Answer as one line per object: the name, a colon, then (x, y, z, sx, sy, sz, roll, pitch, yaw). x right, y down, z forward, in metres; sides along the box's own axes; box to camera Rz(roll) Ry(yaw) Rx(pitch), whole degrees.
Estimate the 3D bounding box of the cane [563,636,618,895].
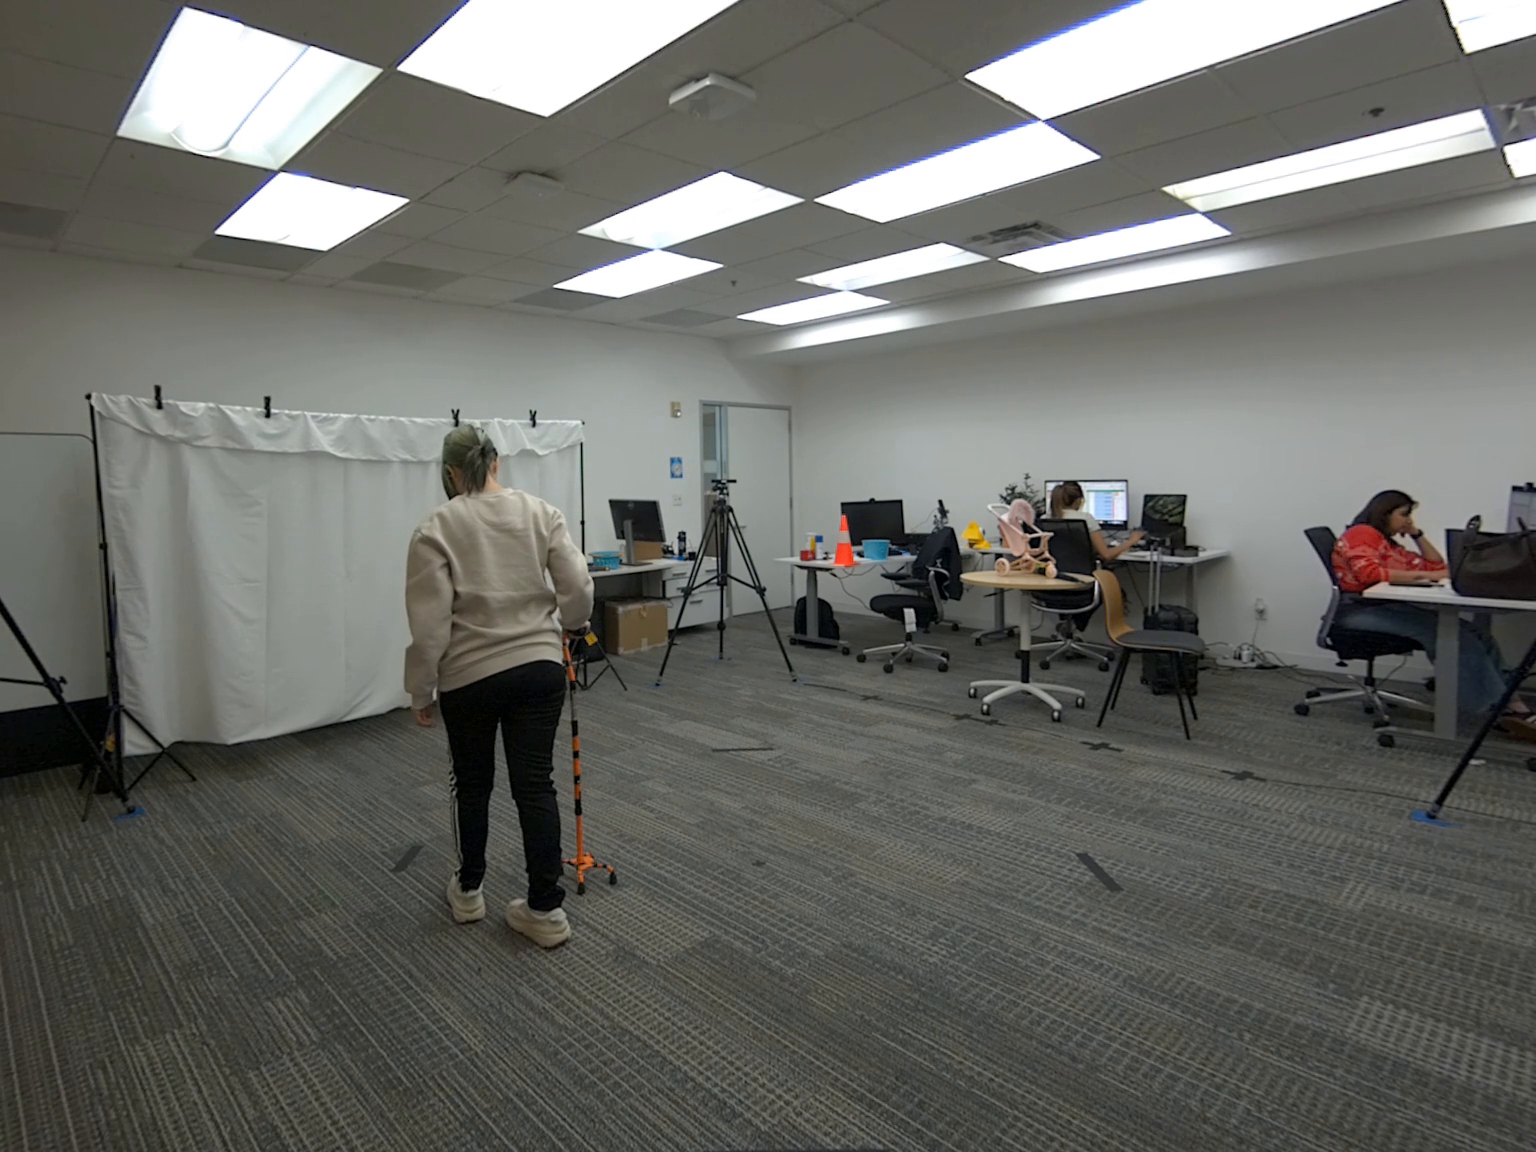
cane: (-0.657, 0.621, 2.997, 0.148, 0.906, 0.212, -4, 3, -33)
